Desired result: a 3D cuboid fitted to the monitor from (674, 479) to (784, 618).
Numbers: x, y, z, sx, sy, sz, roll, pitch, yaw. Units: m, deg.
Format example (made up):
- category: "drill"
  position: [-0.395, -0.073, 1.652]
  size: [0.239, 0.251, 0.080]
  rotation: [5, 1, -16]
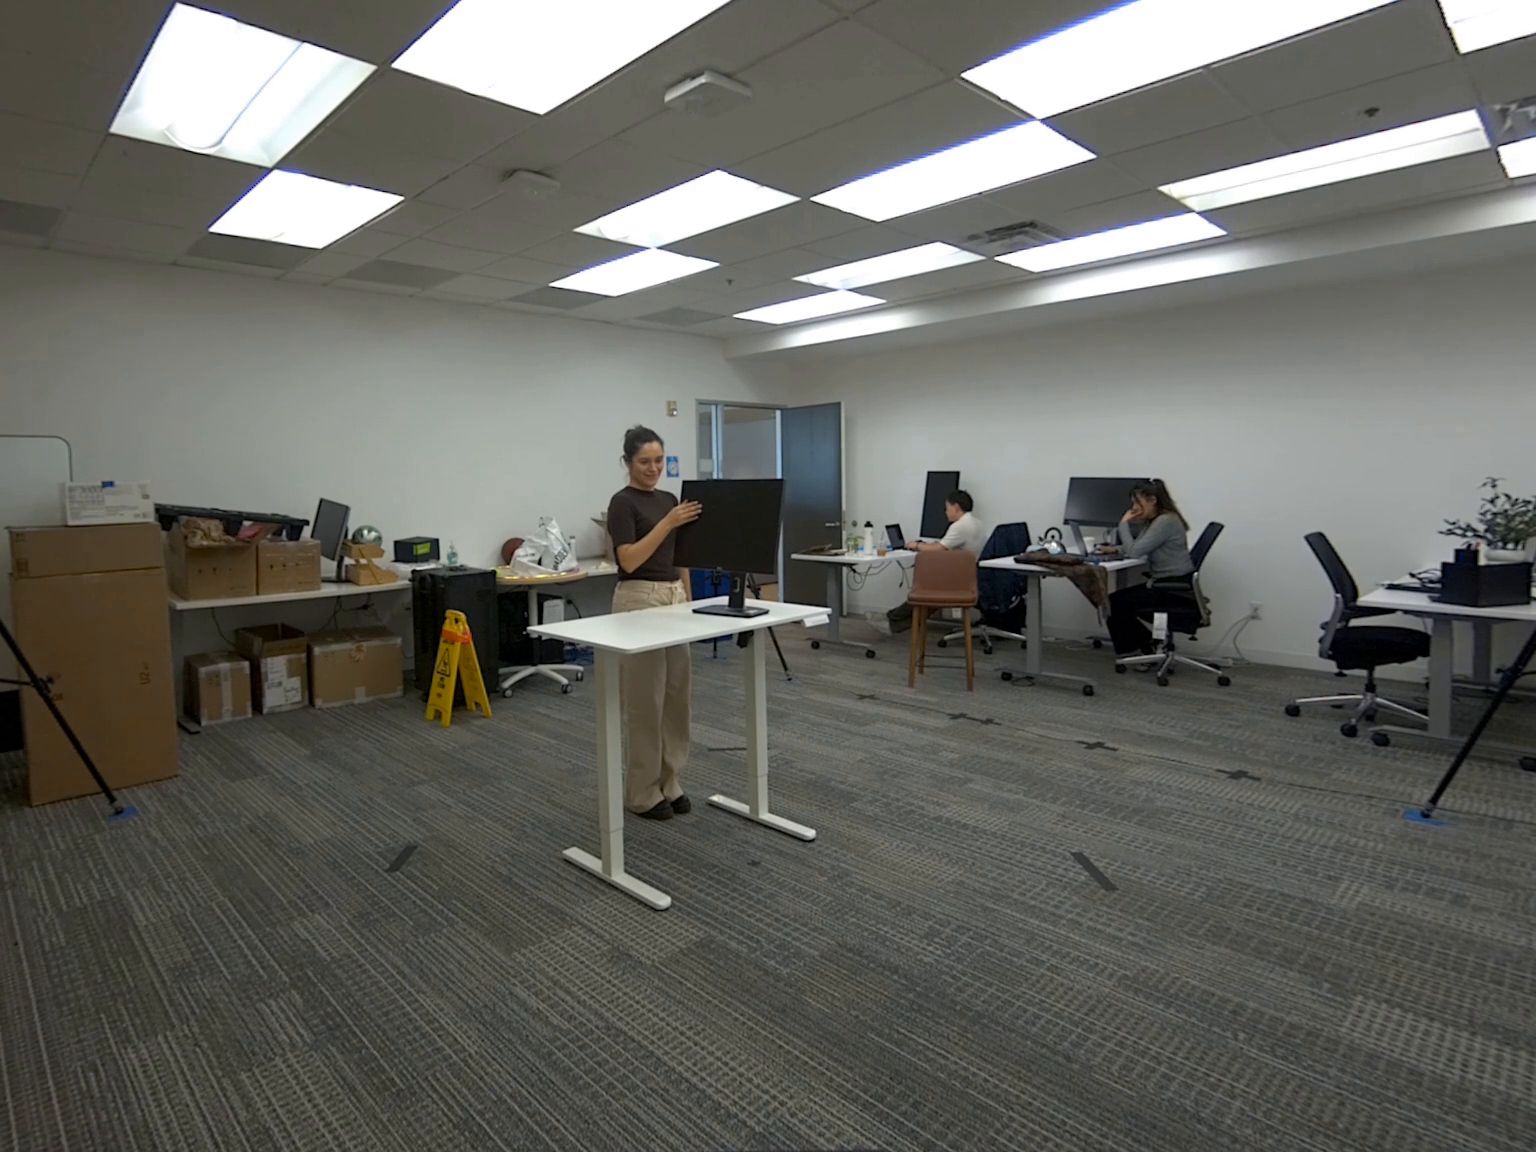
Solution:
- category: "monitor"
  position: [-0.139, -0.109, 3.282]
  size: [0.556, 0.520, 0.182]
  rotation: [4, 7, 42]
